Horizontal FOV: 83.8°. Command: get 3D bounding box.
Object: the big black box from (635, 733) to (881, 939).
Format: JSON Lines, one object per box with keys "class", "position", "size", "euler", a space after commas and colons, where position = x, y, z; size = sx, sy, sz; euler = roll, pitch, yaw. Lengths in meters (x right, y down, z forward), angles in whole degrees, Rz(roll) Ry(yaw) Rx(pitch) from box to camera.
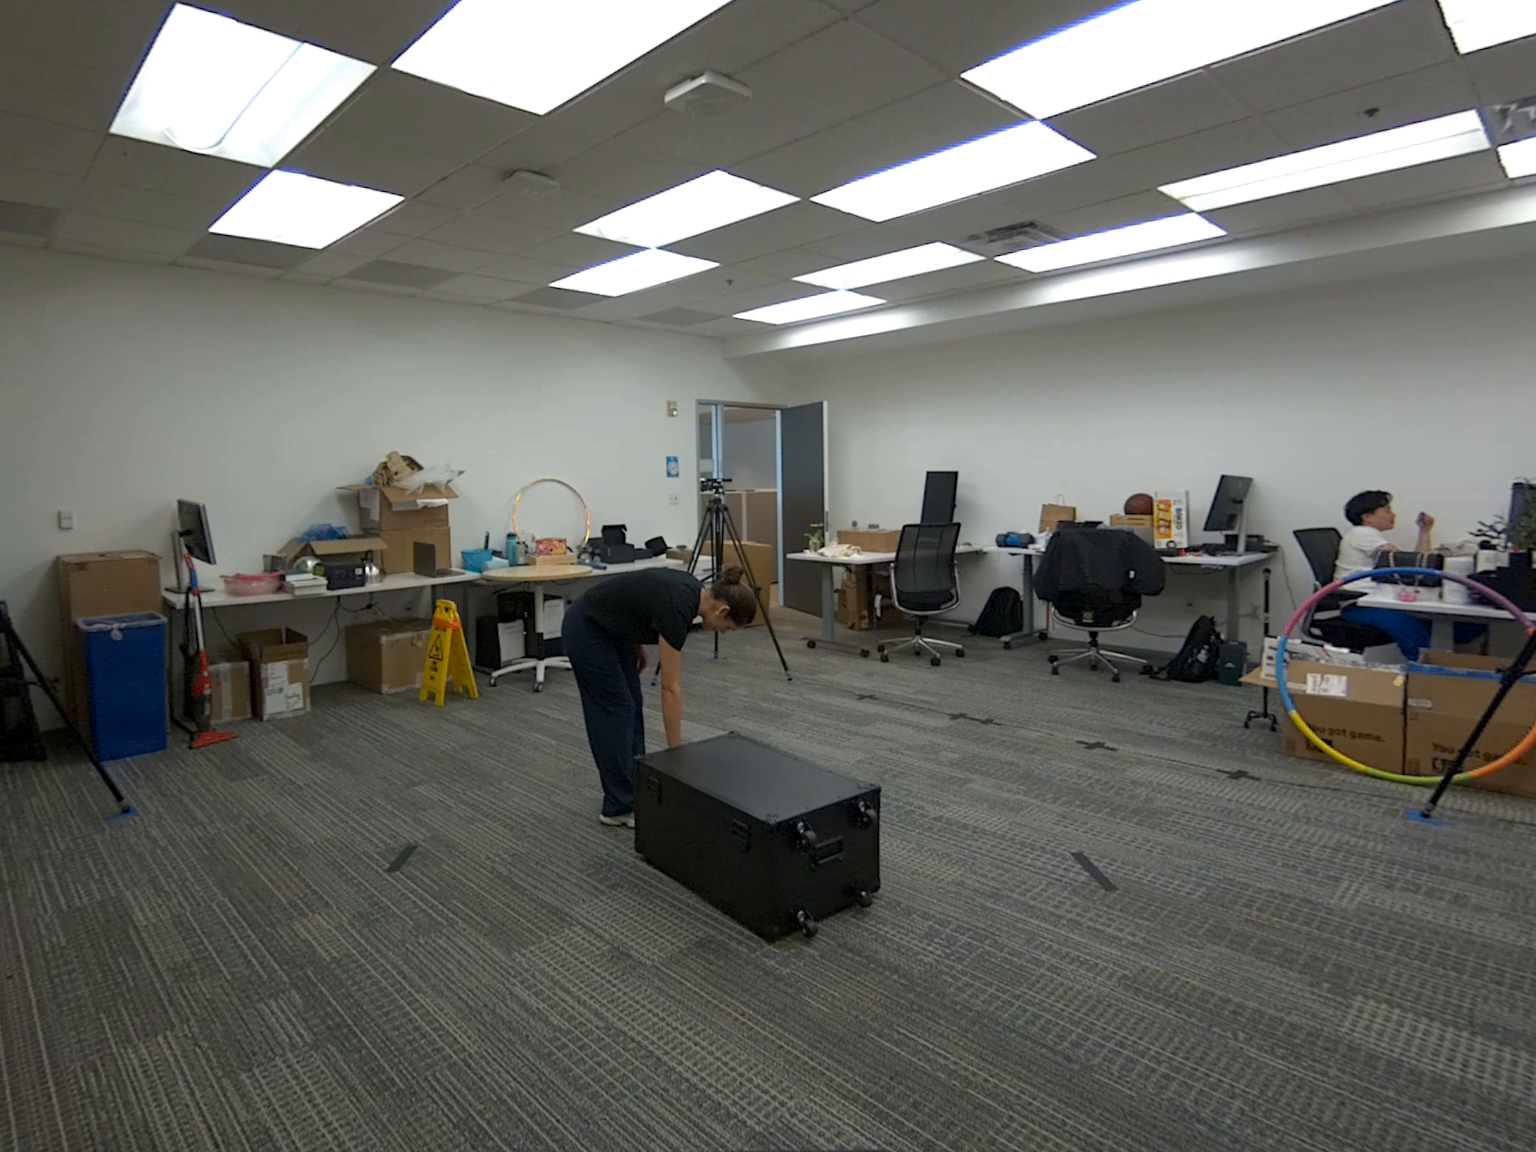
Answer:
{"class": "big black box", "position": [-0.078, 0.865, 3.026], "size": [0.508, 0.394, 0.888], "euler": [-5, 7, -39]}
